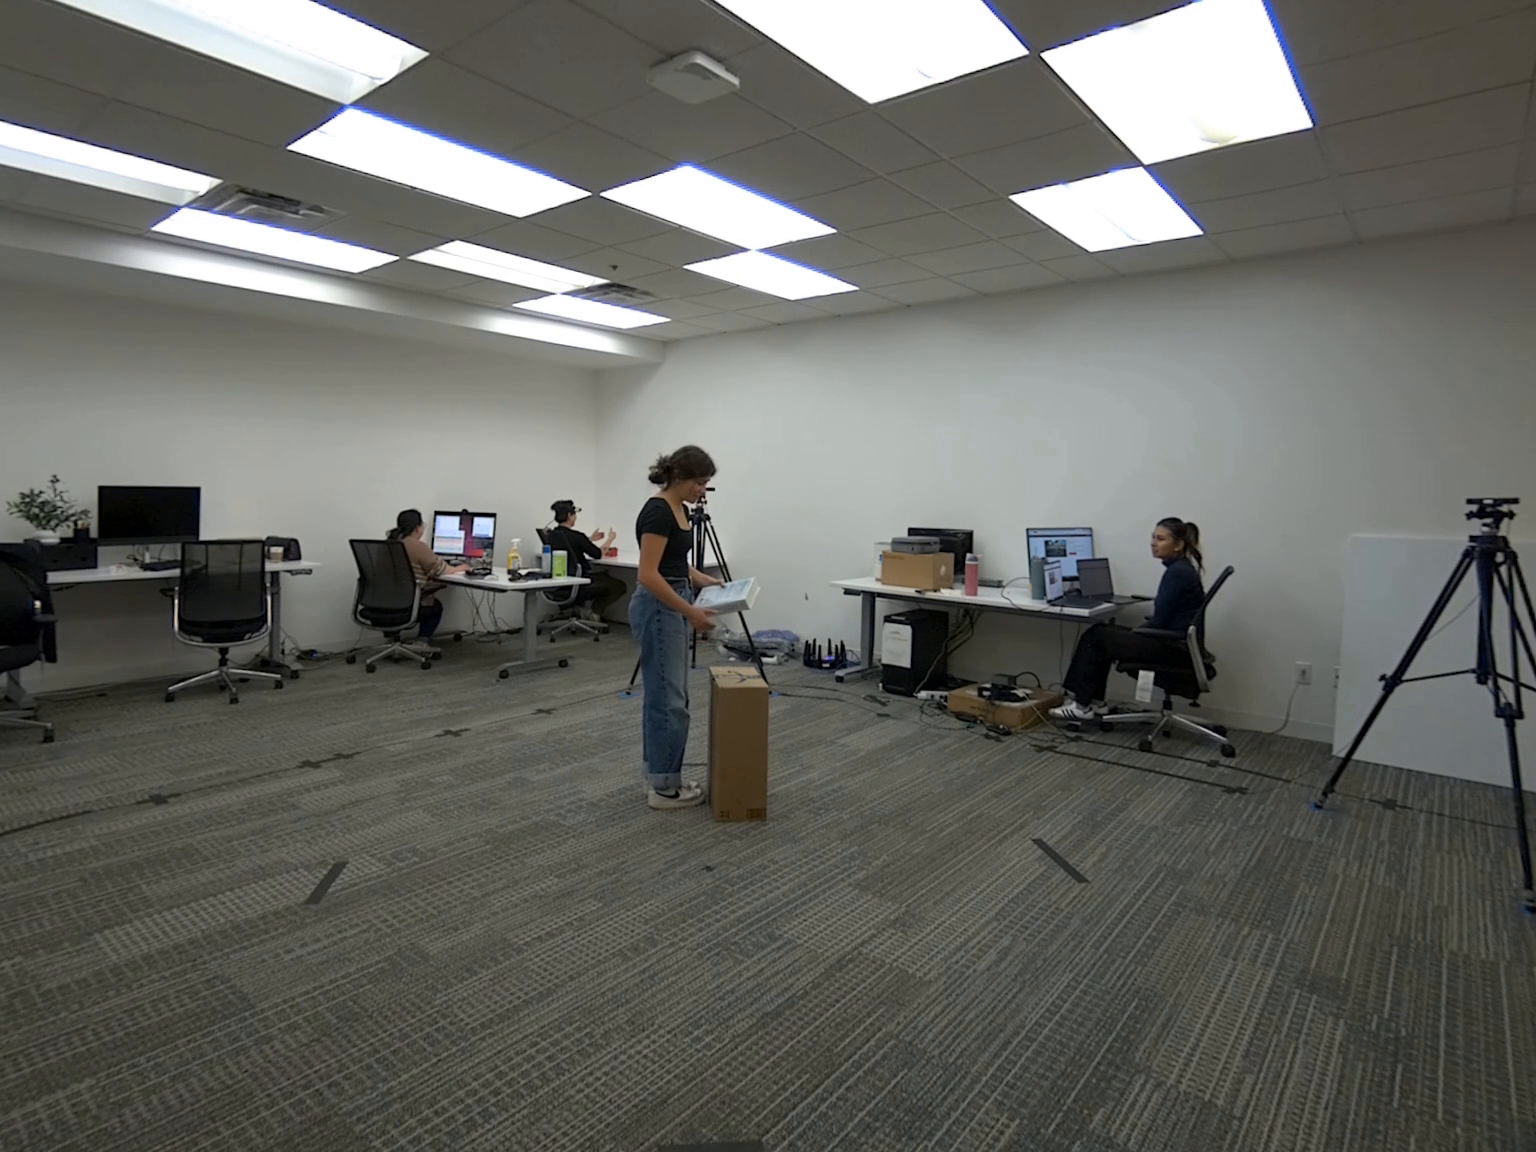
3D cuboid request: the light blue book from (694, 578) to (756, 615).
[{"bbox_3d":[-0.197,0.098,3.705,0.265,0.057,0.193,-13,25,21],"label":"light blue book"}]
